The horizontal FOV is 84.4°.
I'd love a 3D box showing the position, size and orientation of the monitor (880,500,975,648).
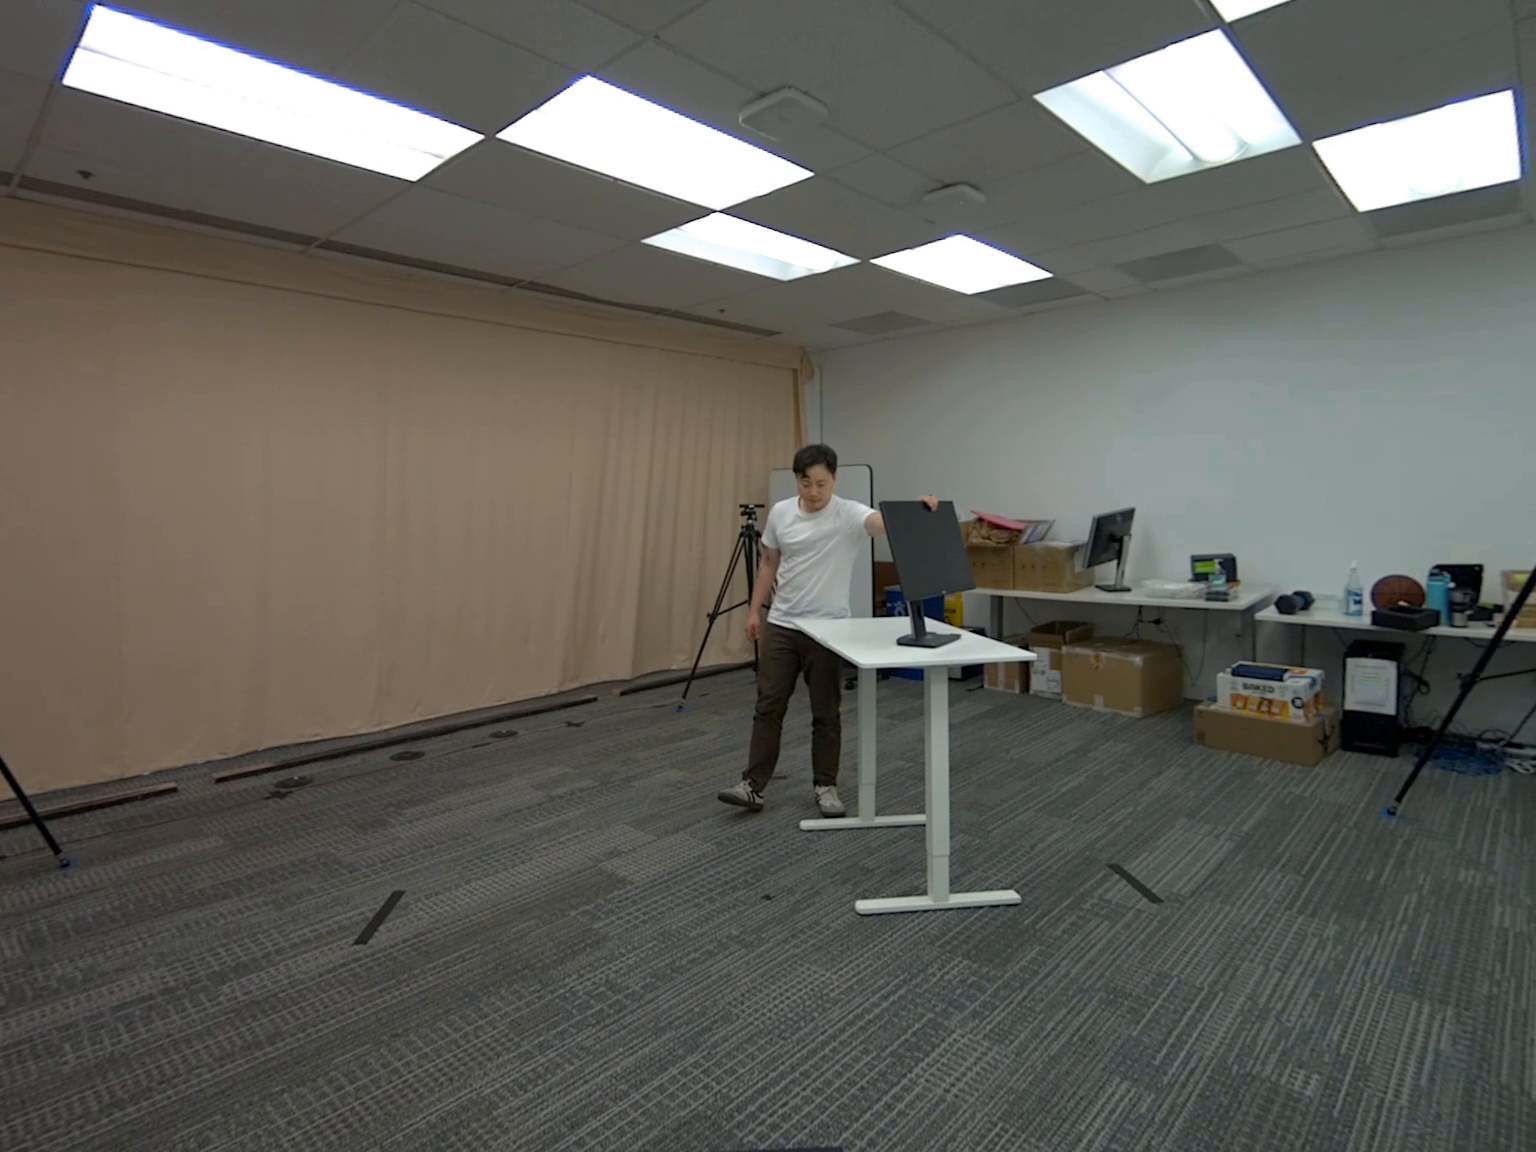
[{"bbox_3d":[0.579,-0.011,3.077,0.193,0.522,0.523,-1,3,38],"label":"monitor"}]
